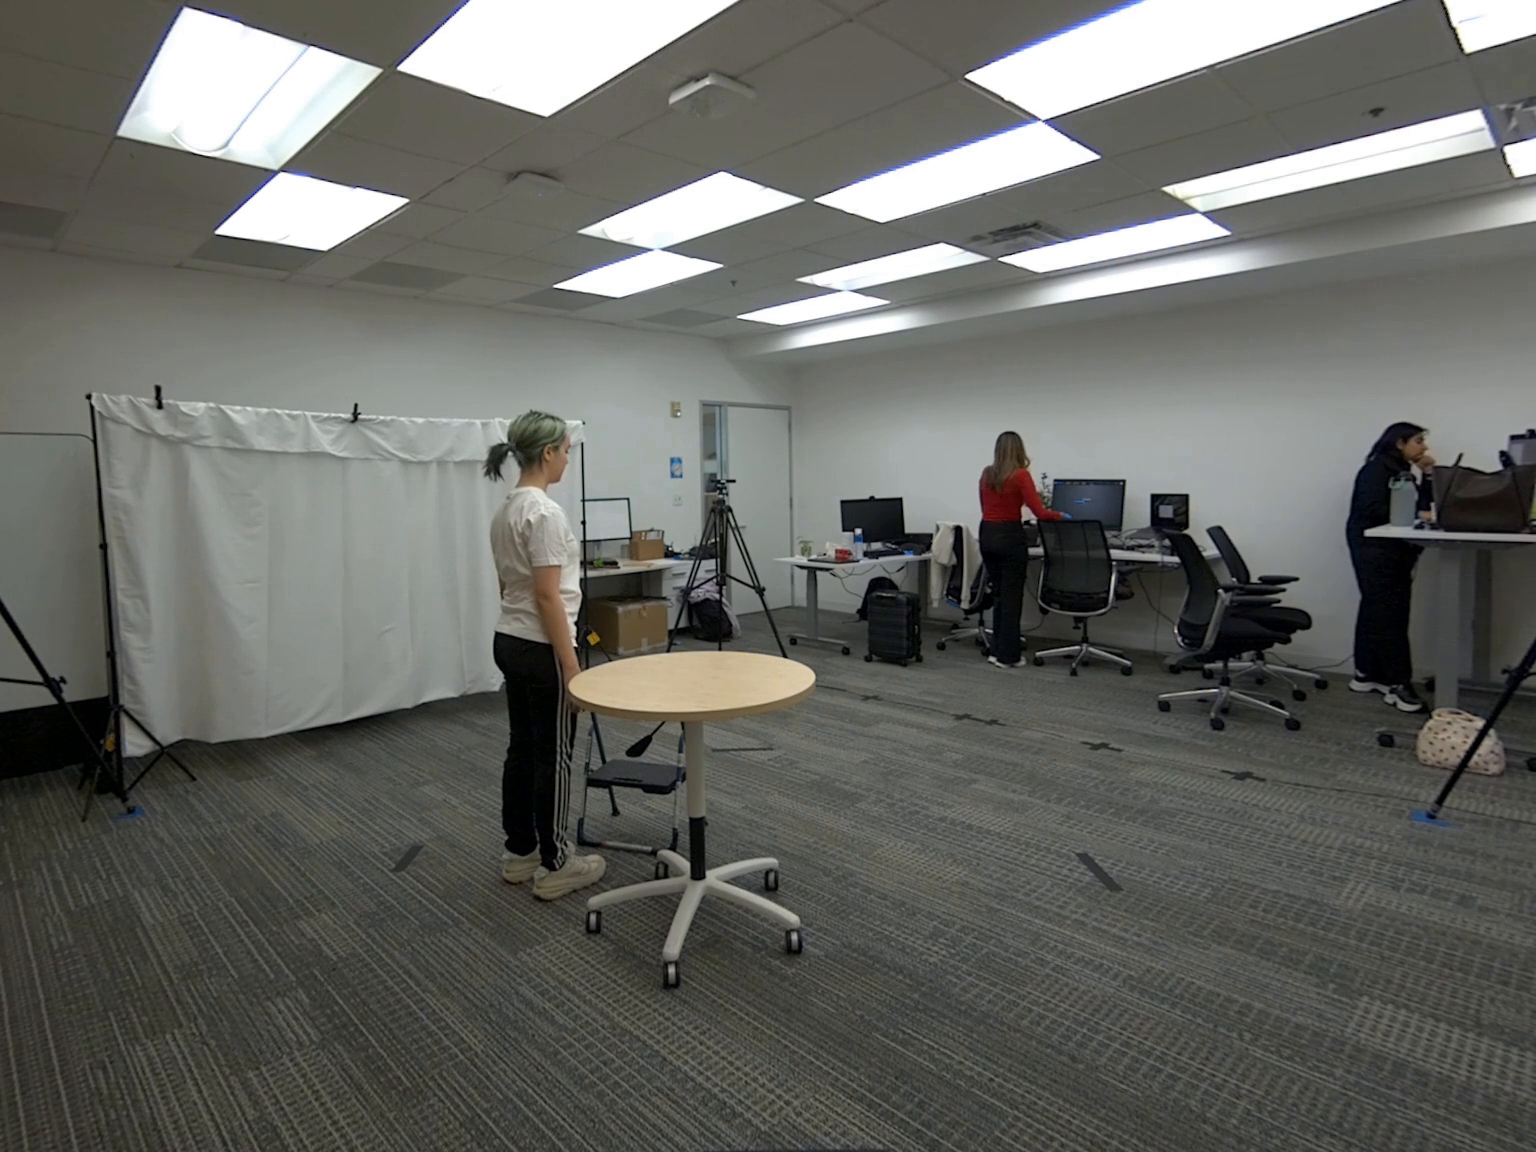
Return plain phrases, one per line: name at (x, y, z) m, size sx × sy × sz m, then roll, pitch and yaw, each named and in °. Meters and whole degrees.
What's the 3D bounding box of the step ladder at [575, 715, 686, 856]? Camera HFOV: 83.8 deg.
step ladder at (-0.501, 0.723, 3.370) m, size 0.438 × 0.604 × 0.344 m, roll 0°, pitch 3°, yaw 18°
